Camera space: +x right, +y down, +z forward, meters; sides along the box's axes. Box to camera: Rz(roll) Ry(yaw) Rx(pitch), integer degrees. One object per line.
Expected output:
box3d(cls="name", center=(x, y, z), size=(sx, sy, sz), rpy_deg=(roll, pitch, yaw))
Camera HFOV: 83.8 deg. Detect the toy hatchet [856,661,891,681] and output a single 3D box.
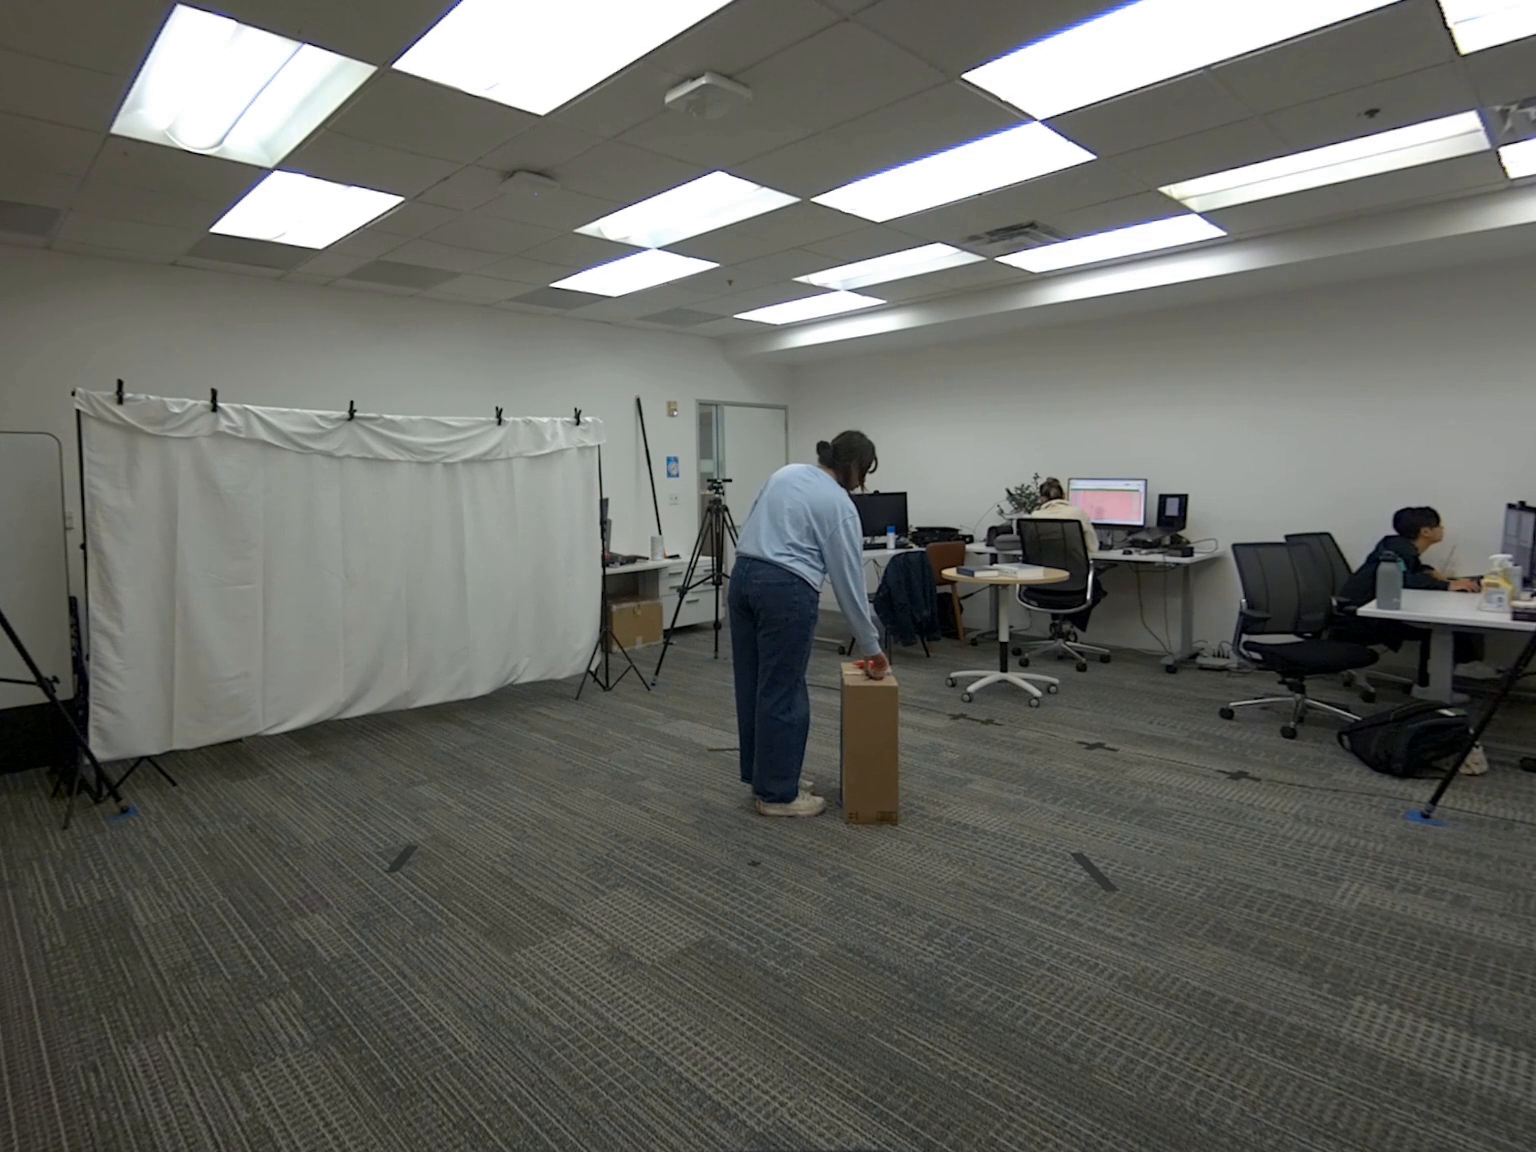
box3d(cls="toy hatchet", center=(0.459, 0.401, 3.637), size=(0.129, 0.029, 0.275), rpy_deg=(1, 8, -14))
